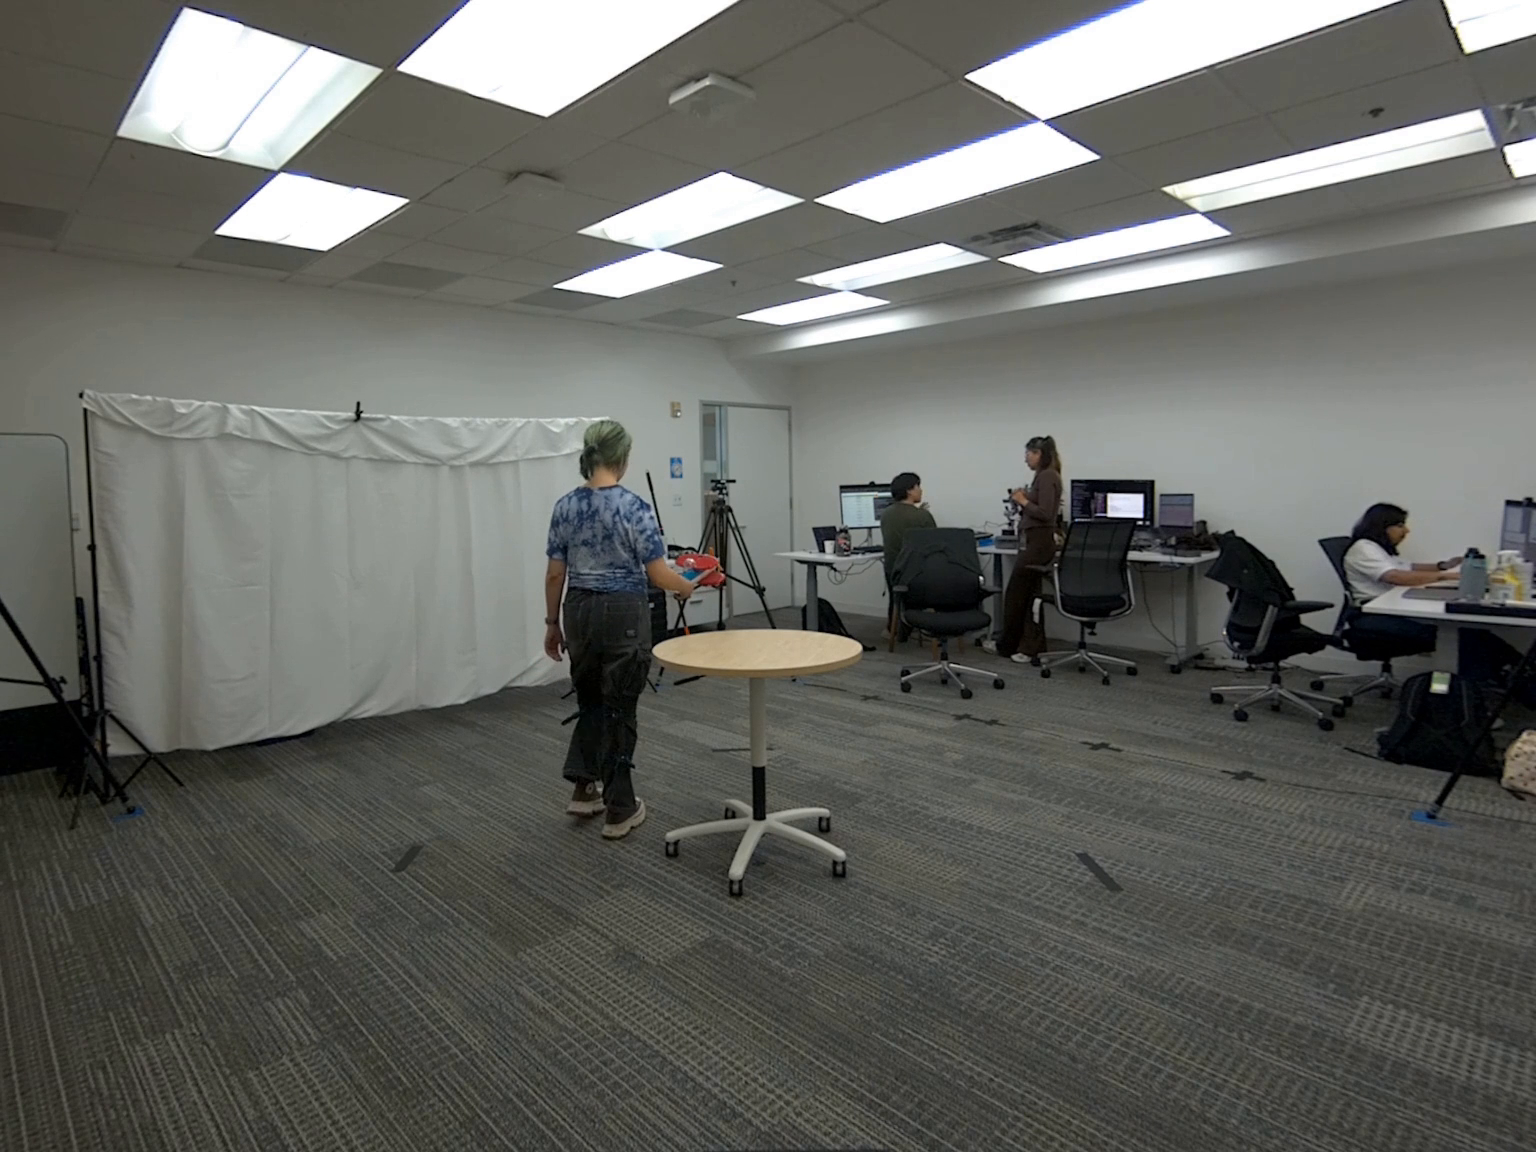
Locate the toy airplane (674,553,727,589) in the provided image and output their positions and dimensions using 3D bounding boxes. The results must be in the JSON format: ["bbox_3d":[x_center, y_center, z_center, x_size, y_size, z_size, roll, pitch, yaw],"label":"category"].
[{"bbox_3d":[-0.310,0.006,3.681,0.256,0.154,0.258,-2,17,21],"label":"toy airplane"}]
